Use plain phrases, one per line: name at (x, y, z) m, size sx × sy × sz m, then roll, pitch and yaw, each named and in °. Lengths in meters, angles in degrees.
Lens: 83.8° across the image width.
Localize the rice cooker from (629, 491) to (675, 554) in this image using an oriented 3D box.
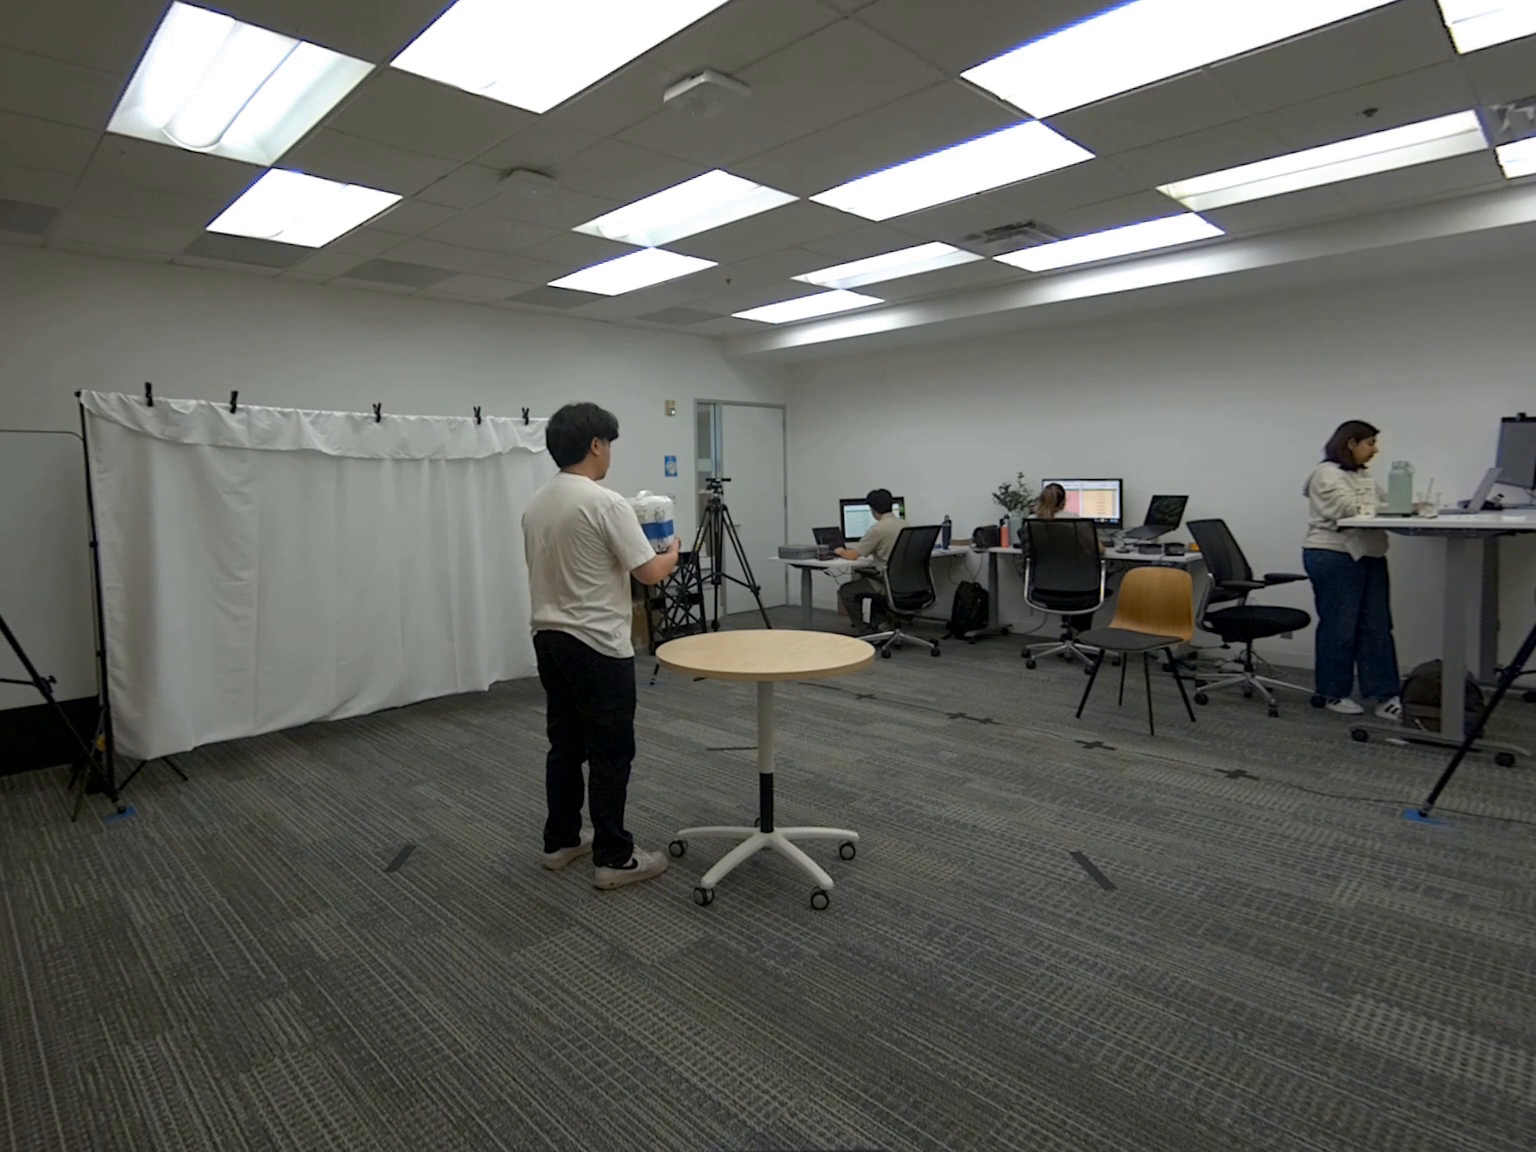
rice cooker at (-0.464, -0.208, 3.253) m, size 0.220 × 0.232 × 0.219 m, roll -2°, pitch 4°, yaw 10°
